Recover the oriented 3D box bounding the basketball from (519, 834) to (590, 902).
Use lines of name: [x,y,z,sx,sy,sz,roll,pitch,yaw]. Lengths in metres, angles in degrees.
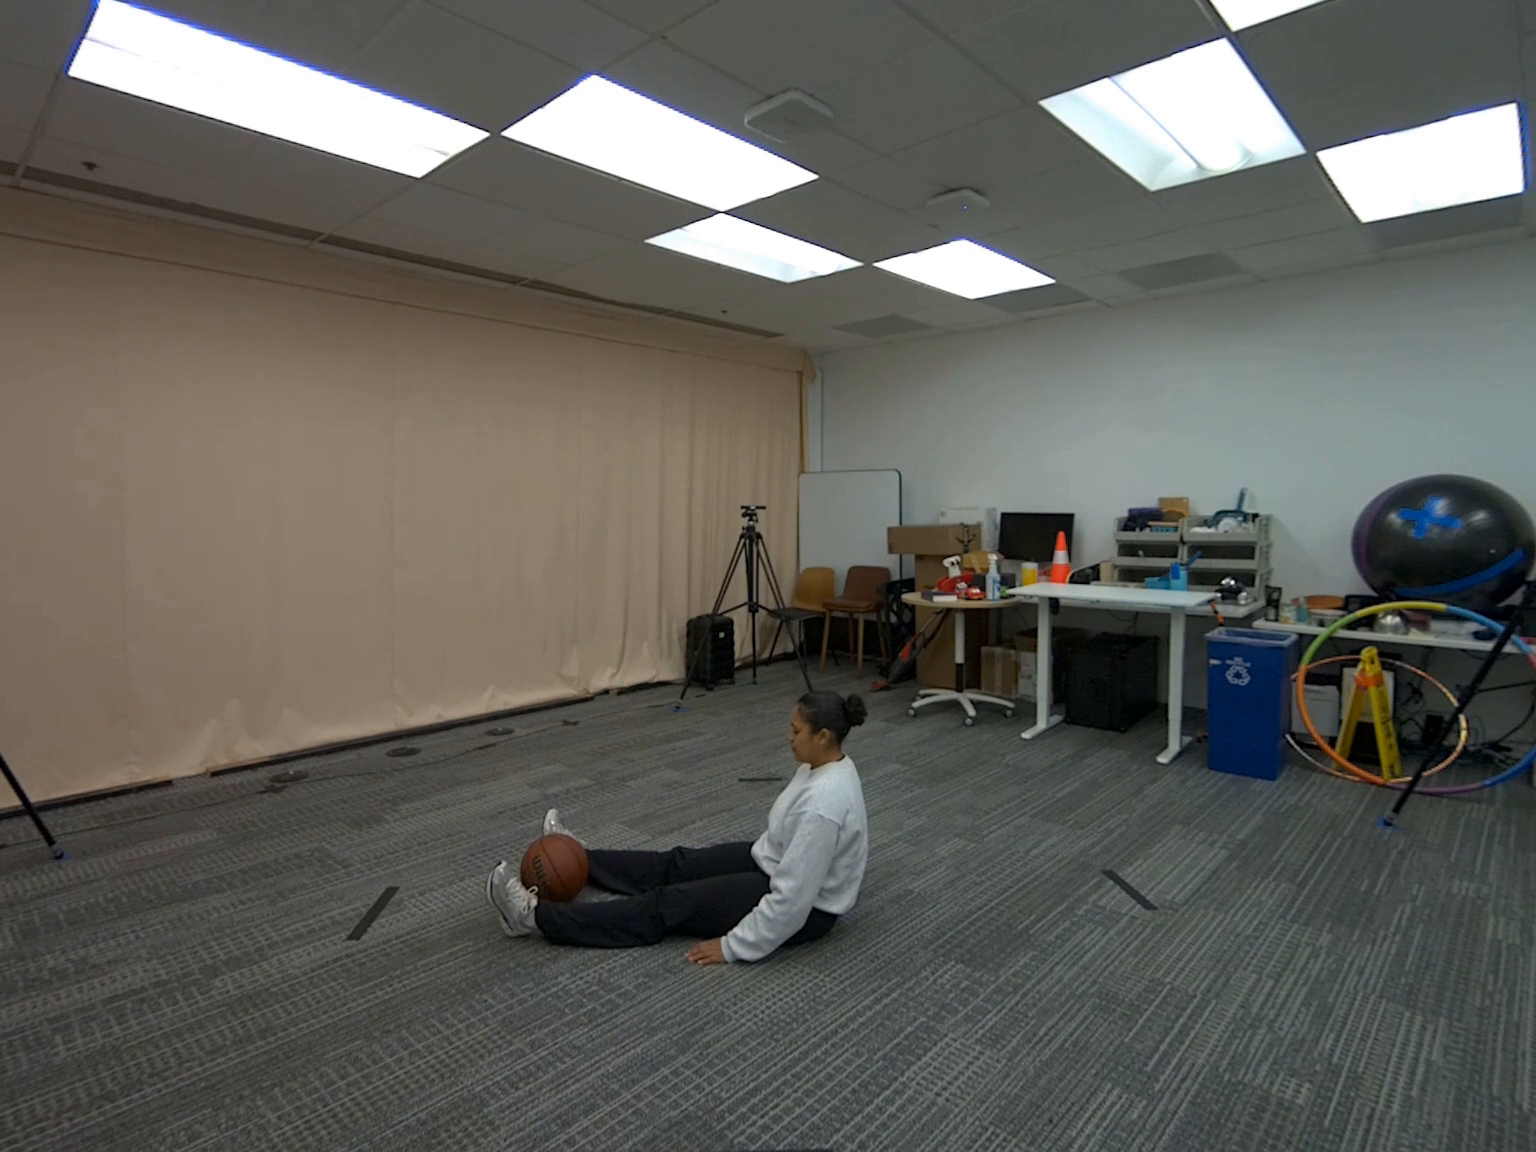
basketball: [-0.753,1.037,2.959,0.236,0.235,0.237,0,4,-2]
